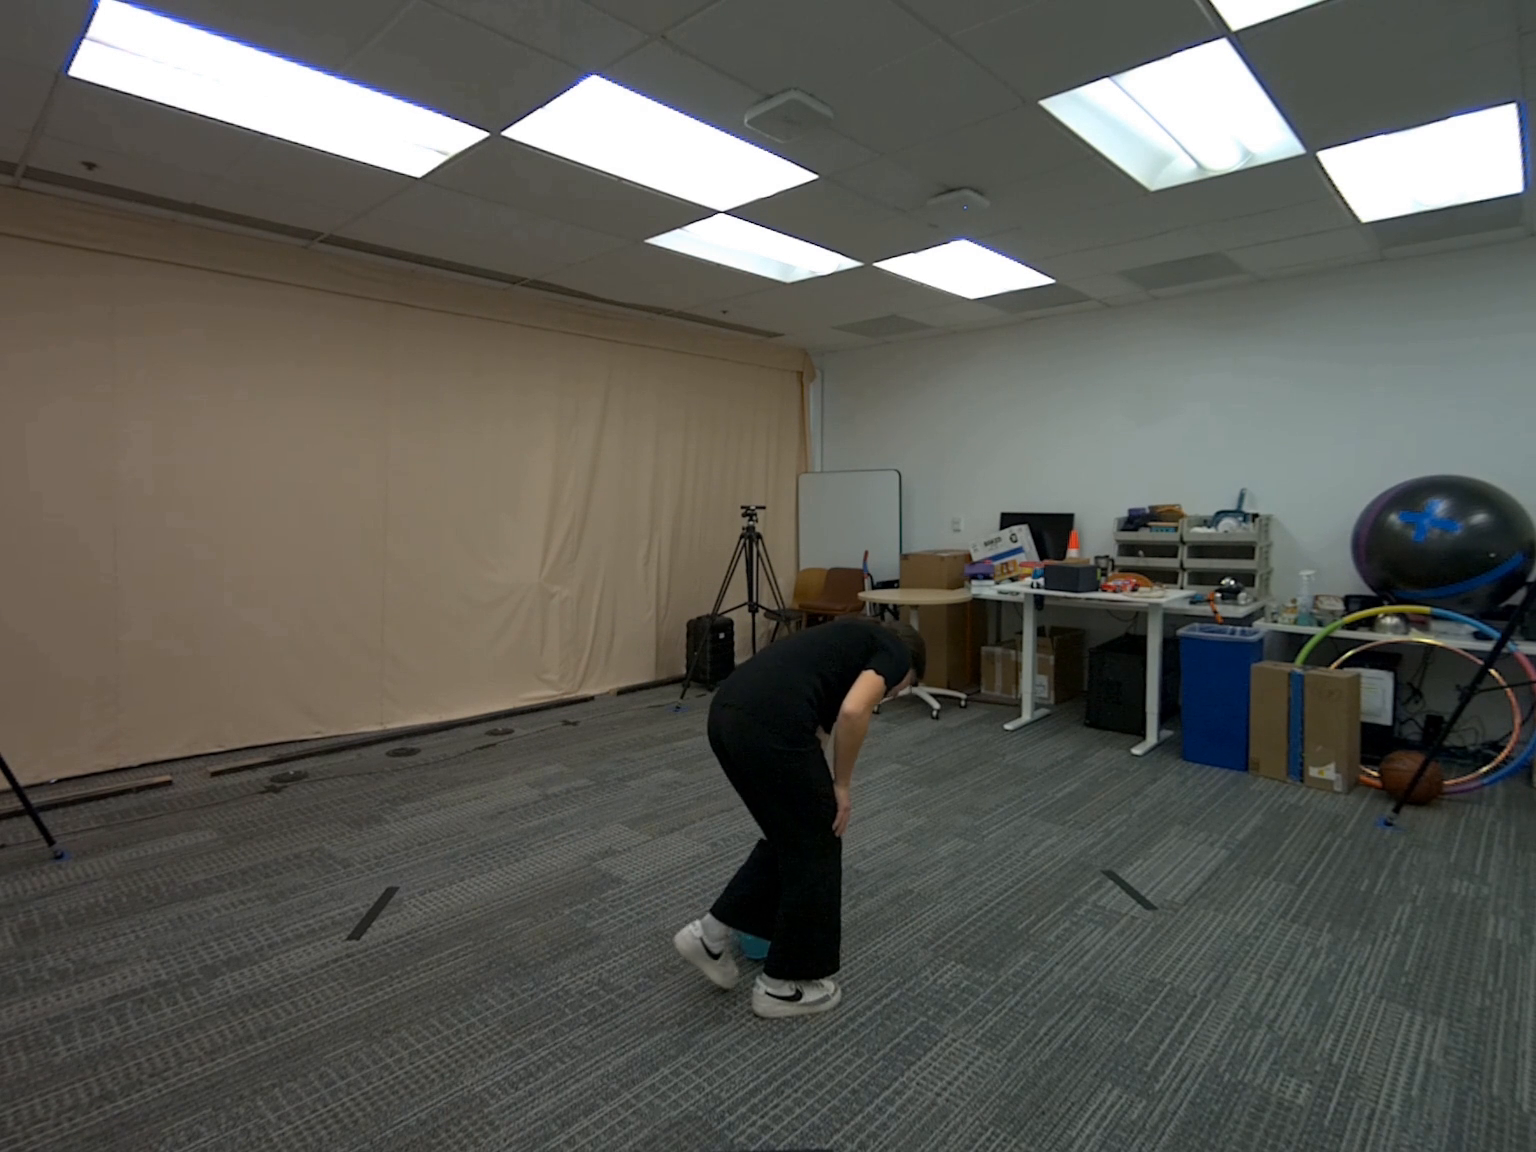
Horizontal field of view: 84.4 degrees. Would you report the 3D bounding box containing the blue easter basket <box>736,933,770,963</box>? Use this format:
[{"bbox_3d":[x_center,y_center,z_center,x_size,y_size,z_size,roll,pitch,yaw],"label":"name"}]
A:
[{"bbox_3d":[-0.022,1.069,2.616,0.243,0.156,0.244,-22,2,-2],"label":"blue easter basket"}]
